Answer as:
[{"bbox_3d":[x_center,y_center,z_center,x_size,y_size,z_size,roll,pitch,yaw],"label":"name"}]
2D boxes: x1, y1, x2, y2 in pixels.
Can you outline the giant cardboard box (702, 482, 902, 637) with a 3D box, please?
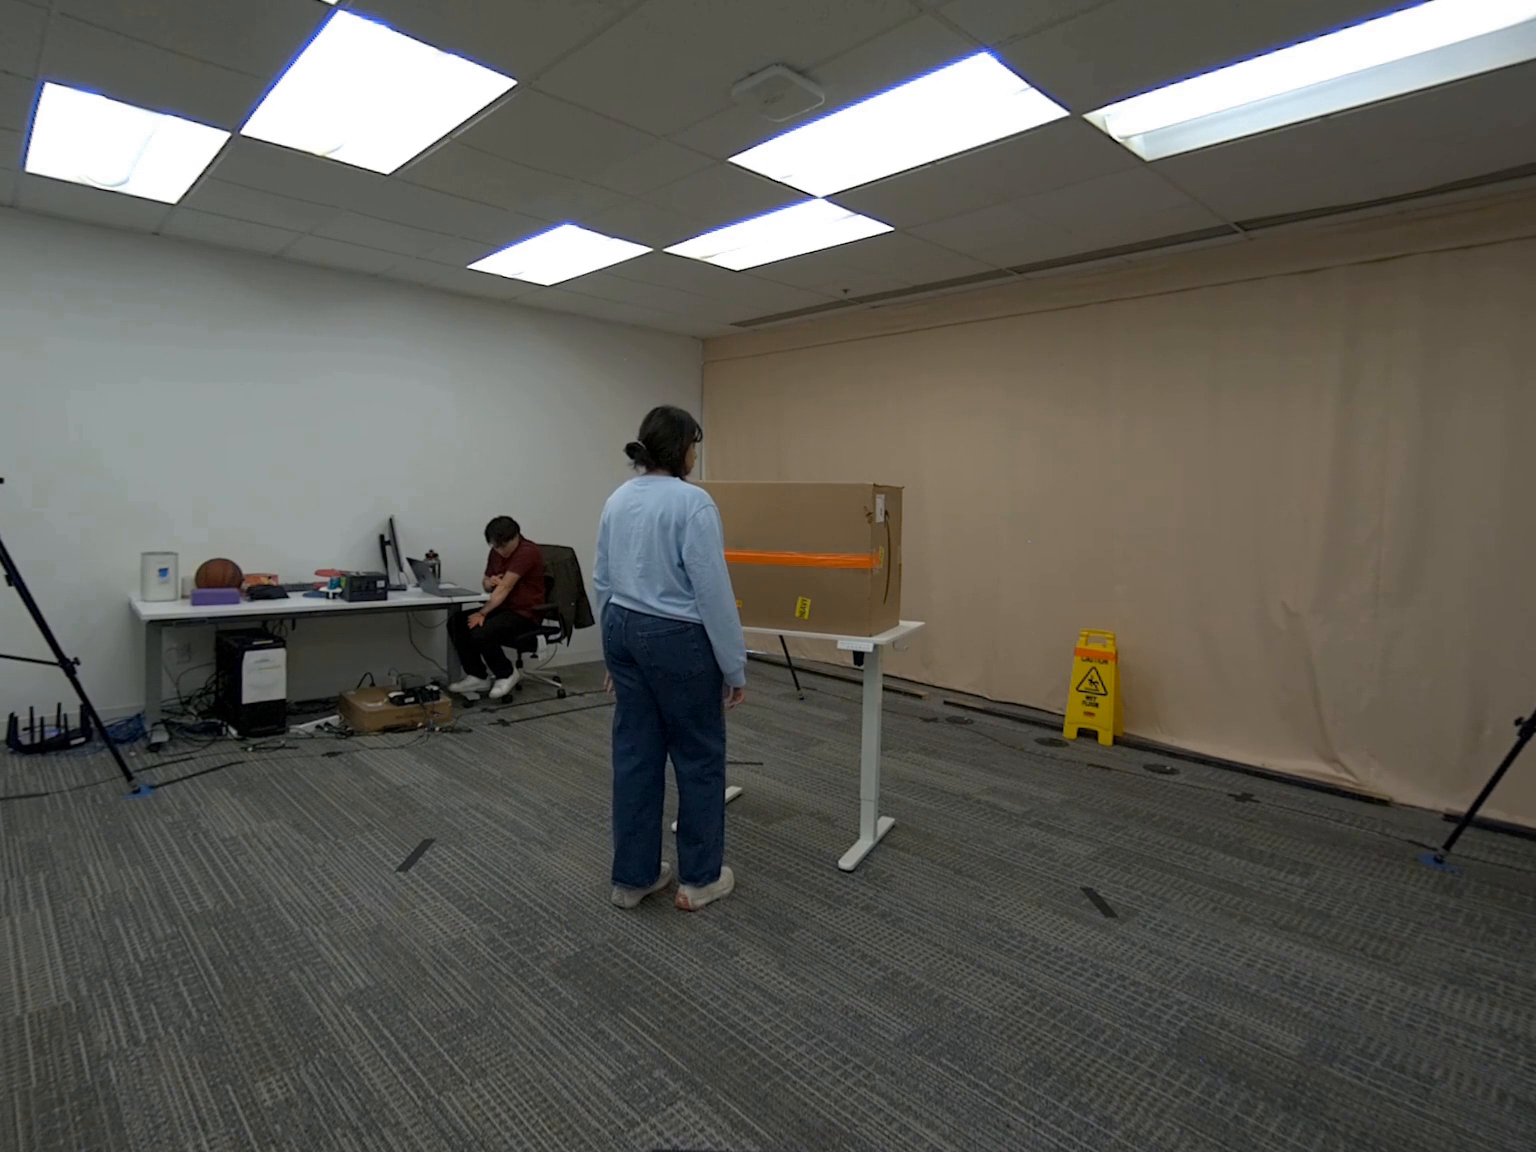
[{"bbox_3d":[0.008,-0.096,3.511,1.046,0.576,0.418,3,4,27],"label":"giant cardboard box"}]
